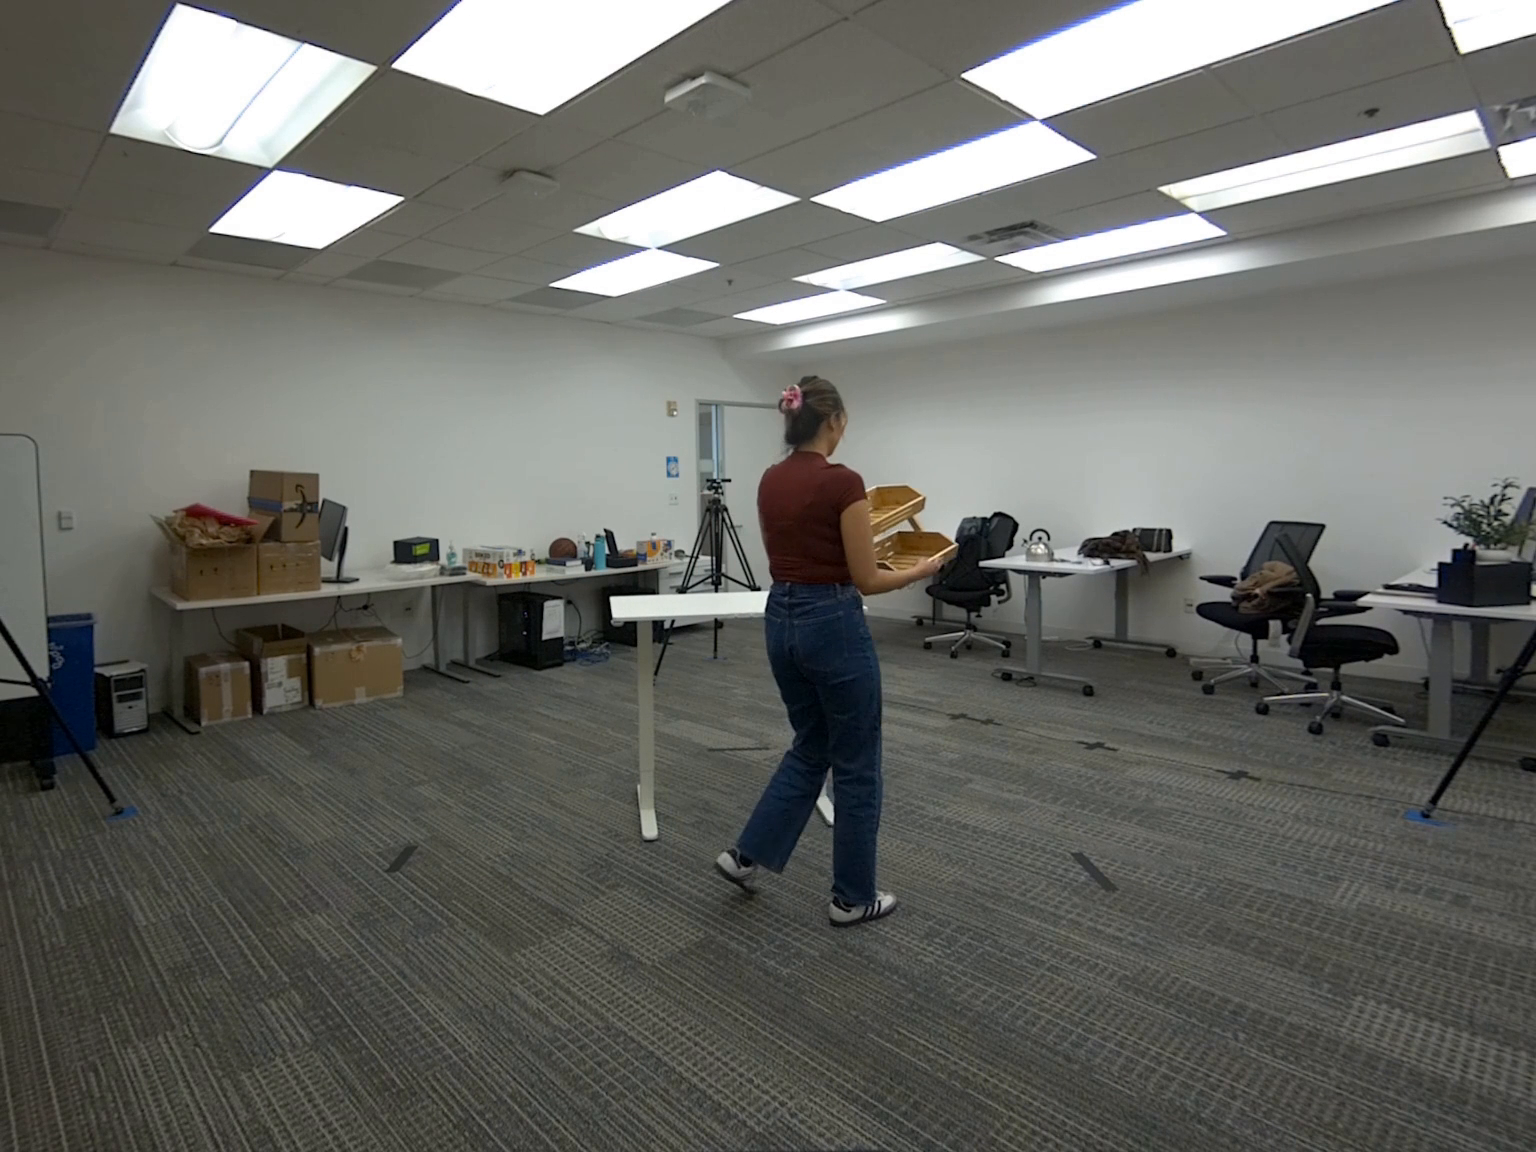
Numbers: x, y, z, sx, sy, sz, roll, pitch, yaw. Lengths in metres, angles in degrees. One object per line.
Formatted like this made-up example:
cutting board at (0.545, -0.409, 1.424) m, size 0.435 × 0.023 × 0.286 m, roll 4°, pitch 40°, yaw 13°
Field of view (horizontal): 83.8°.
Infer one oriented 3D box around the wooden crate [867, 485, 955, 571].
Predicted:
wooden crate at (0.407, -0.142, 2.883) m, size 0.320 × 0.269 × 0.311 m, roll -26°, pitch 19°, yaw -37°
